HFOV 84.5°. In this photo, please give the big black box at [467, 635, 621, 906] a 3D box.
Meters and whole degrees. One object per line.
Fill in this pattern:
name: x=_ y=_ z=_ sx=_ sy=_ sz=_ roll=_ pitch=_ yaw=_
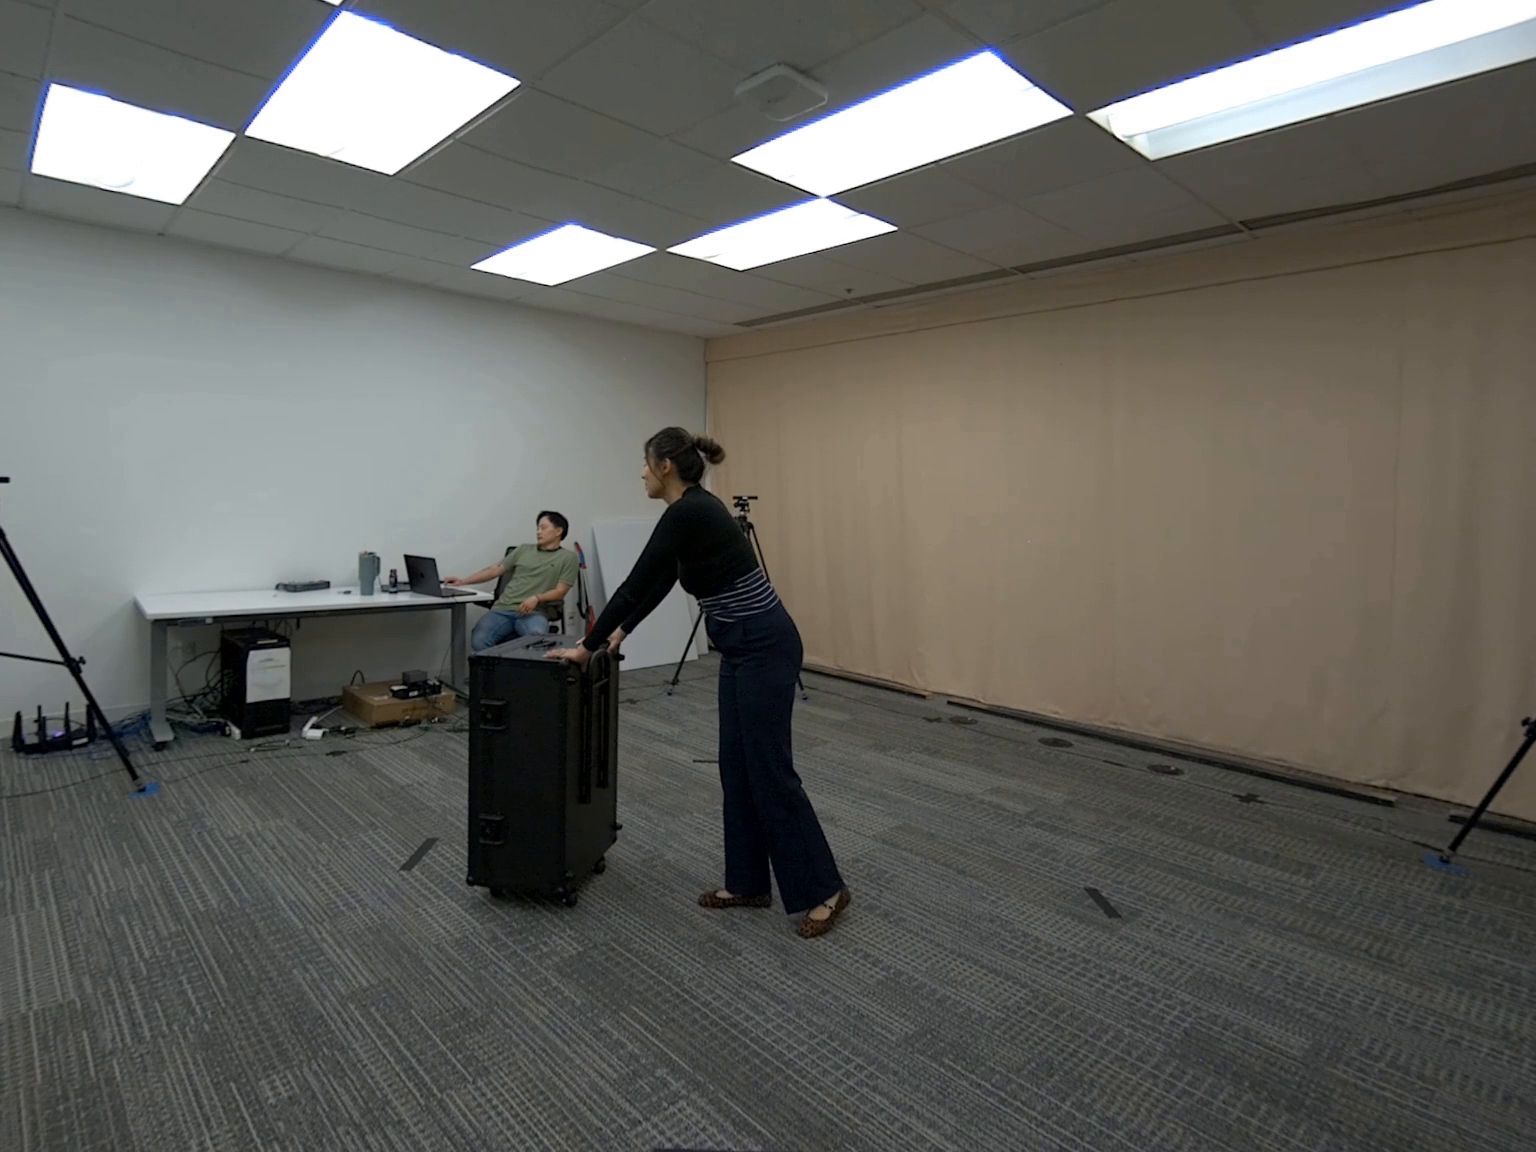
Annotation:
big black box: x=-0.776 y=0.677 z=3.003 sx=0.400 sy=0.859 sz=0.517 roll=3 pitch=3 yaw=11
